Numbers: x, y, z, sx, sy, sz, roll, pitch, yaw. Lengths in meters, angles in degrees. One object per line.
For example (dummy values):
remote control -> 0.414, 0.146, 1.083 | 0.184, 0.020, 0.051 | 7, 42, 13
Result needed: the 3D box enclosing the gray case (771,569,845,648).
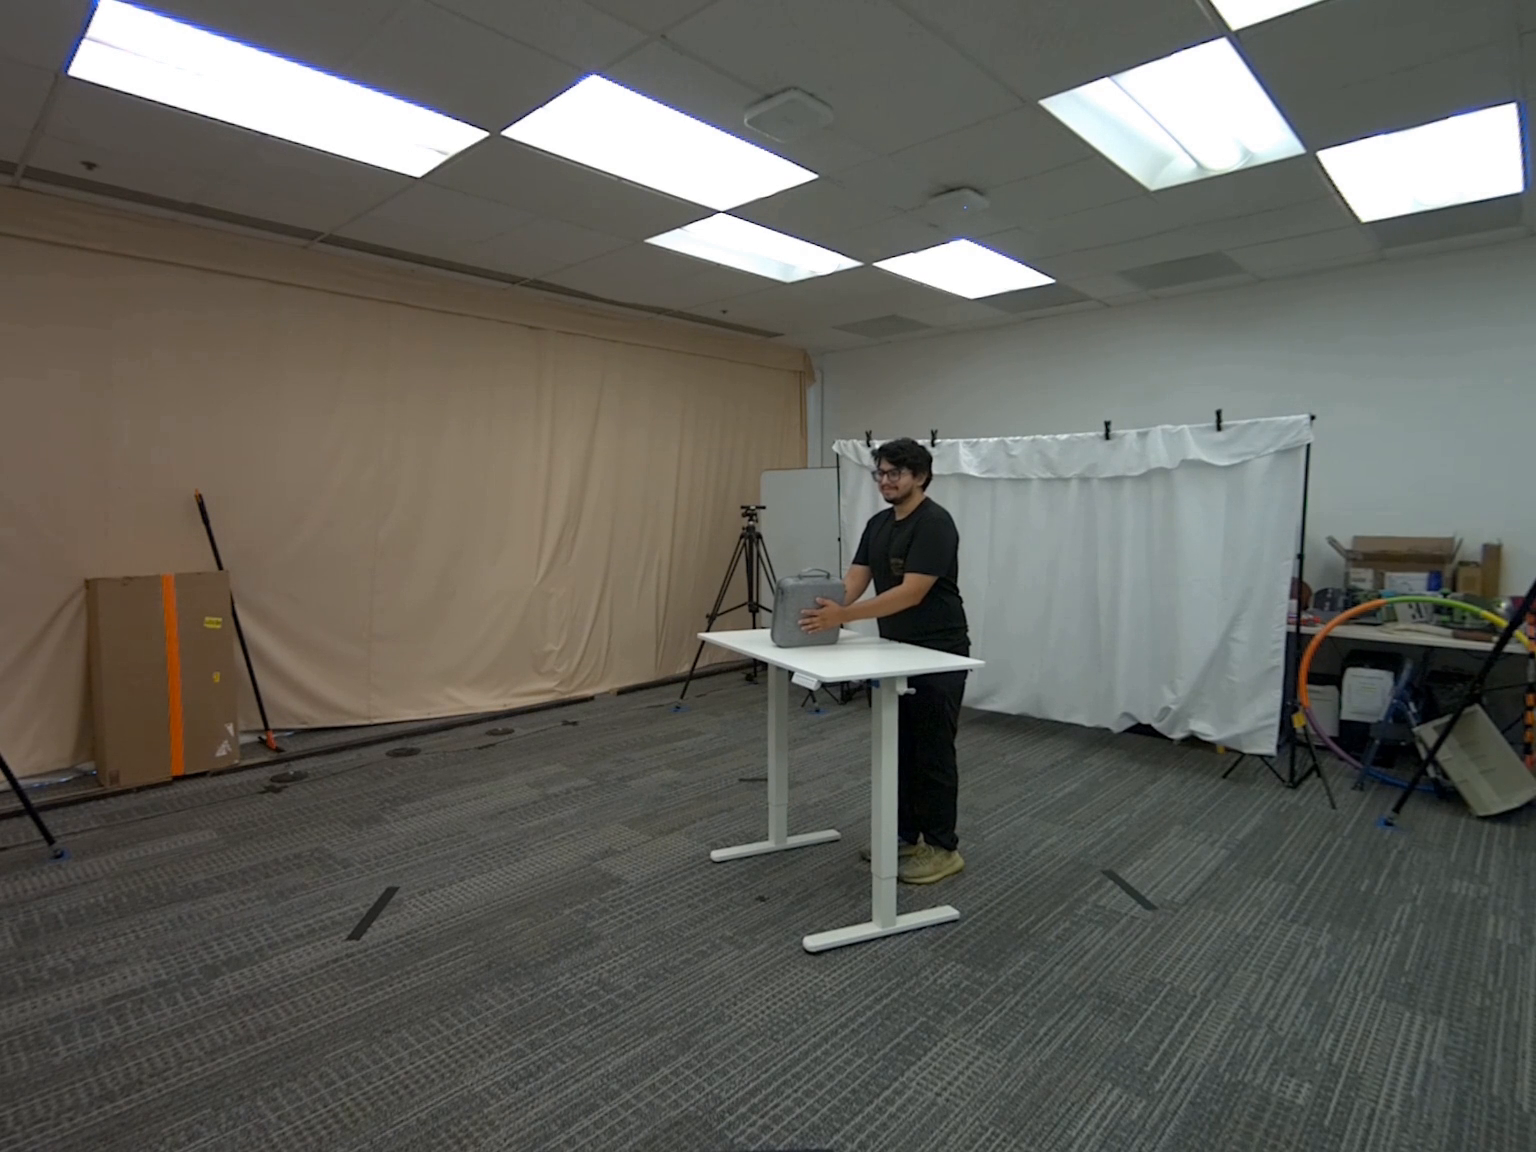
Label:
gray case -> 0.151, 0.125, 3.058 | 0.251, 0.259, 0.107 | 0, 13, -21
